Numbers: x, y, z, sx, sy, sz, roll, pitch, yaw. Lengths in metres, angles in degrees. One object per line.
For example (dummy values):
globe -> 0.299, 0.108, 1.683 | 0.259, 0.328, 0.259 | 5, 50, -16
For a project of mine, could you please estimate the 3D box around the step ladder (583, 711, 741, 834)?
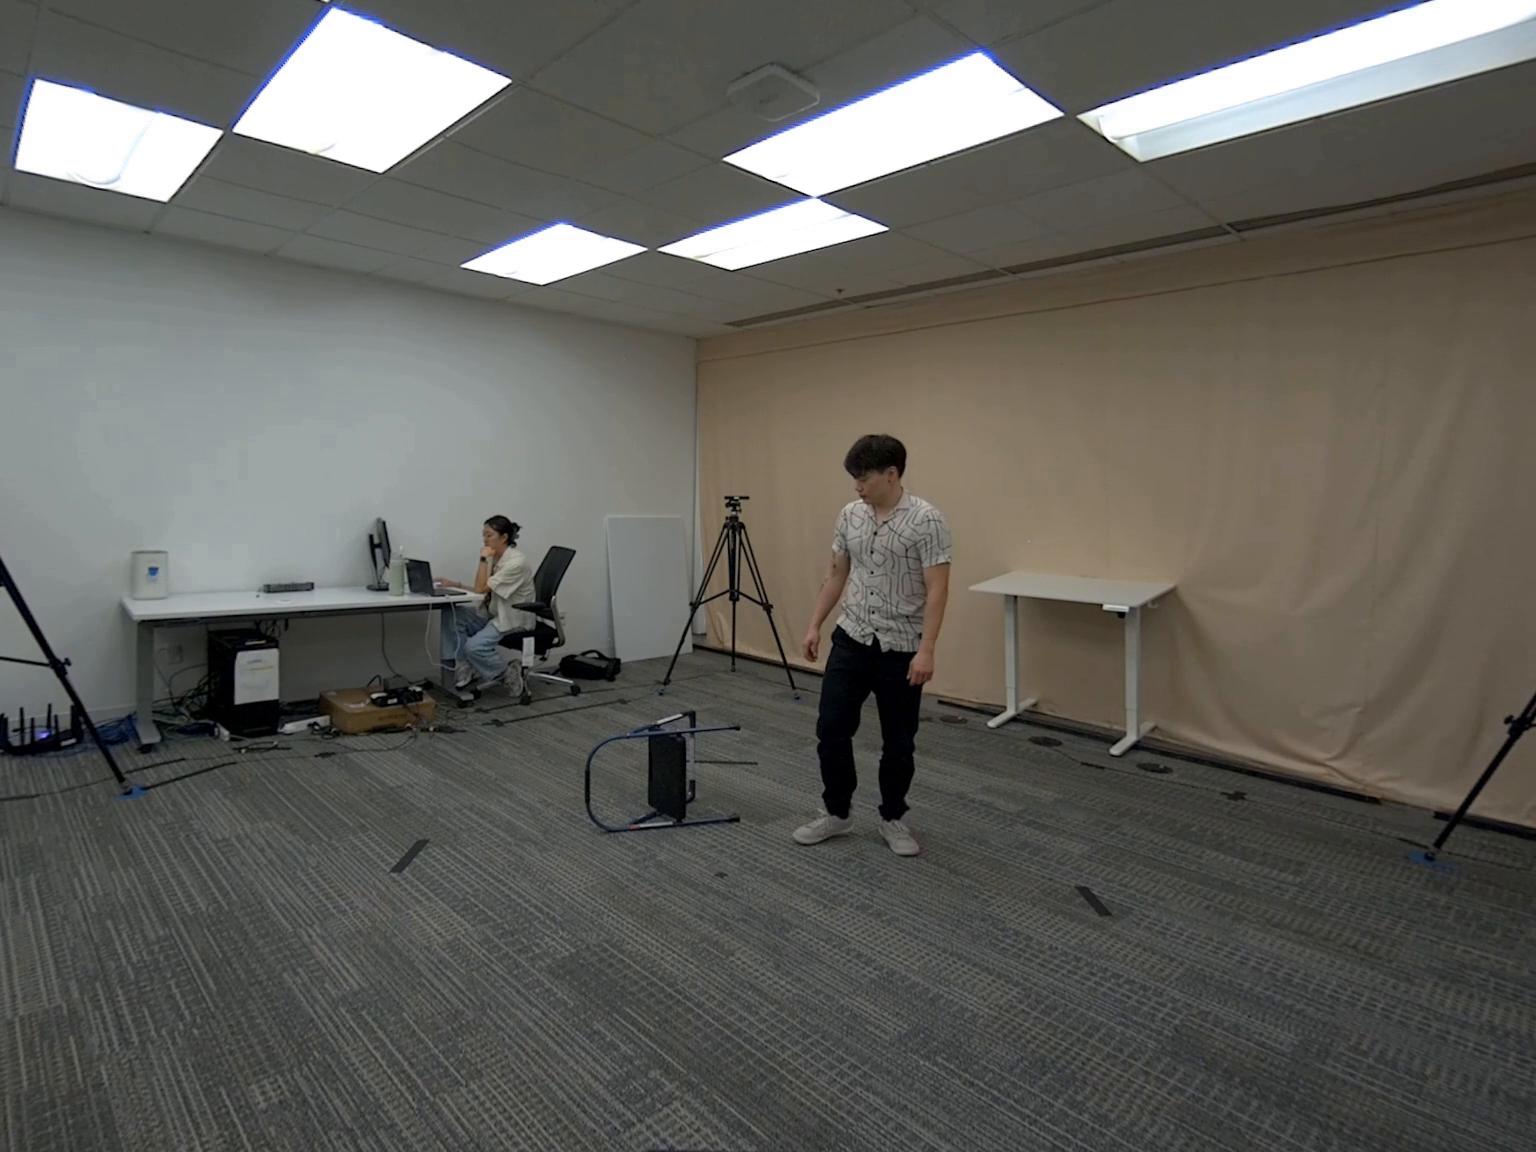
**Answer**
step ladder -> -0.470, 0.842, 3.558 | 0.592, 0.430, 0.358 | -2, 4, -39
